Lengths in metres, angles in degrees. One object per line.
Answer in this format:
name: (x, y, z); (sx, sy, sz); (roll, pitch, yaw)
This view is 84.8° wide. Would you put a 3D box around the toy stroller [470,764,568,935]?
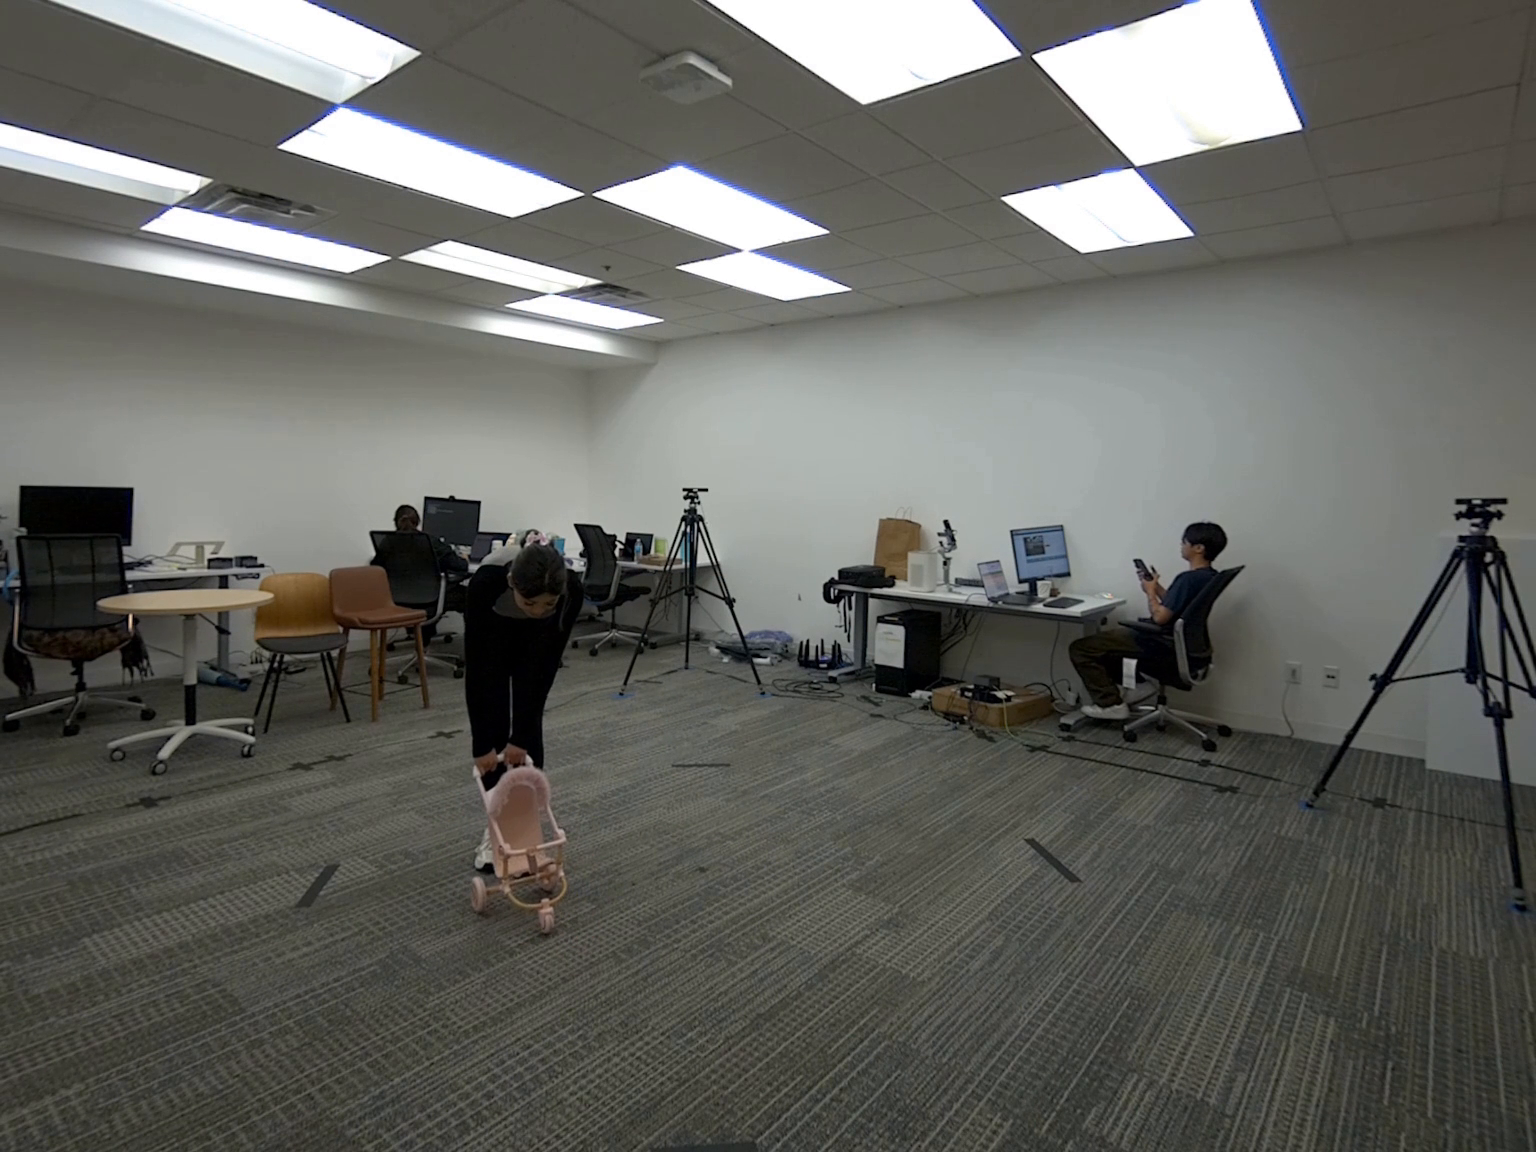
toy stroller: (-0.806, 0.863, 2.772); (0.273, 0.539, 0.348); (-1, -9, -35)
